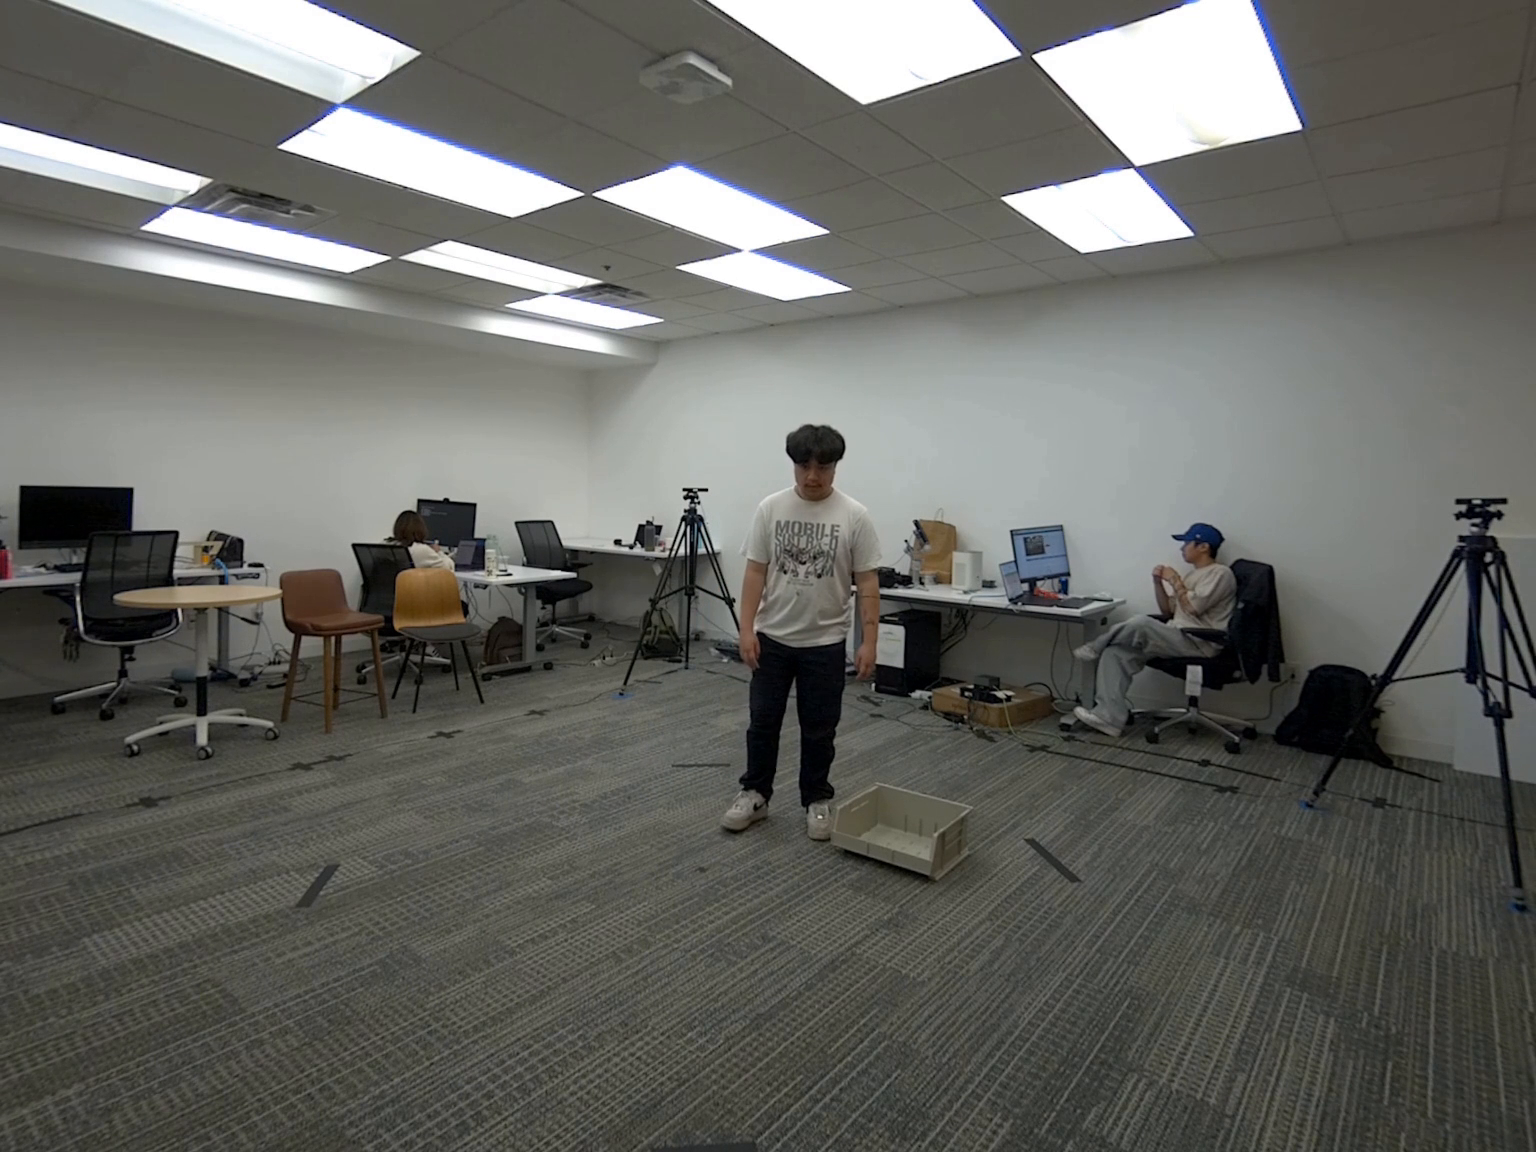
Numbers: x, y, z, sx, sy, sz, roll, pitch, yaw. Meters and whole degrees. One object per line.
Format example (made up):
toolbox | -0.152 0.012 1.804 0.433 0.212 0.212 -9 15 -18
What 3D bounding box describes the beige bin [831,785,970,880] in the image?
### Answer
beige bin | 0.513 0.981 3.290 0.436 0.188 0.366 4 5 36
